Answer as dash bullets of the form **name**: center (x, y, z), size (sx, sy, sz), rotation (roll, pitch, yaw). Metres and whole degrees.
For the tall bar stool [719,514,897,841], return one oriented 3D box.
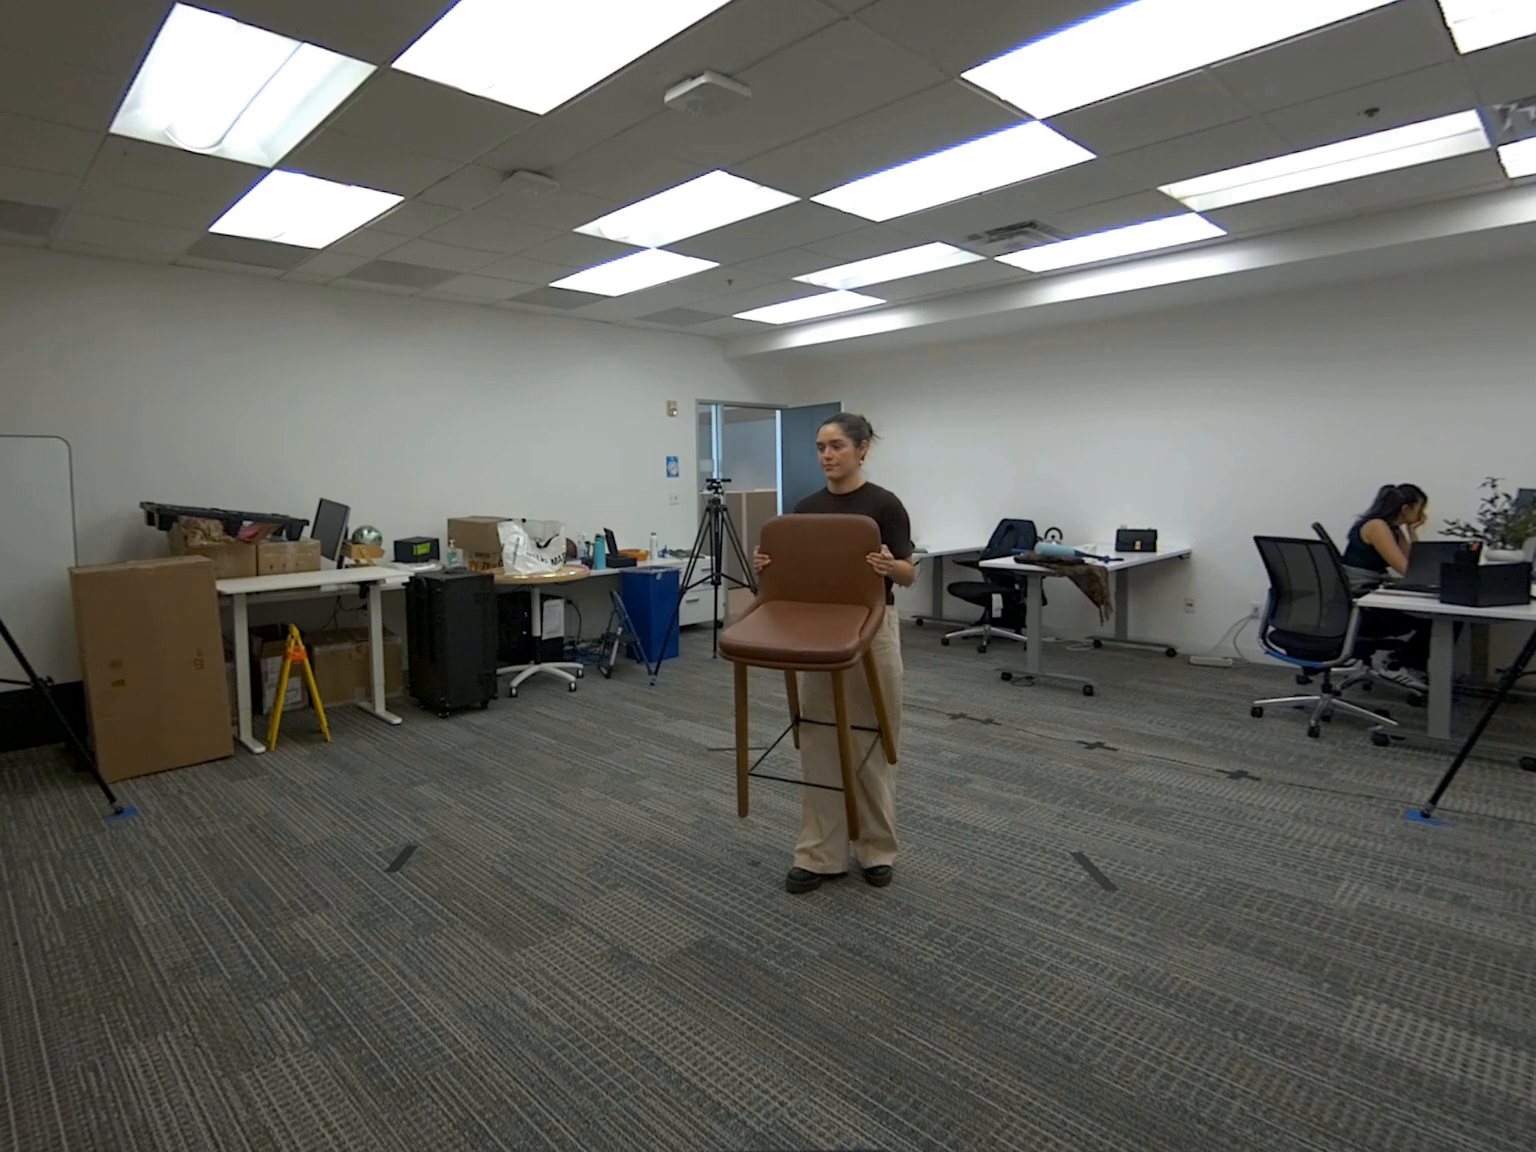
- **tall bar stool**: center (0.130, 0.295, 2.702), size (0.468, 0.877, 0.462), rotation (2, 17, 29)
